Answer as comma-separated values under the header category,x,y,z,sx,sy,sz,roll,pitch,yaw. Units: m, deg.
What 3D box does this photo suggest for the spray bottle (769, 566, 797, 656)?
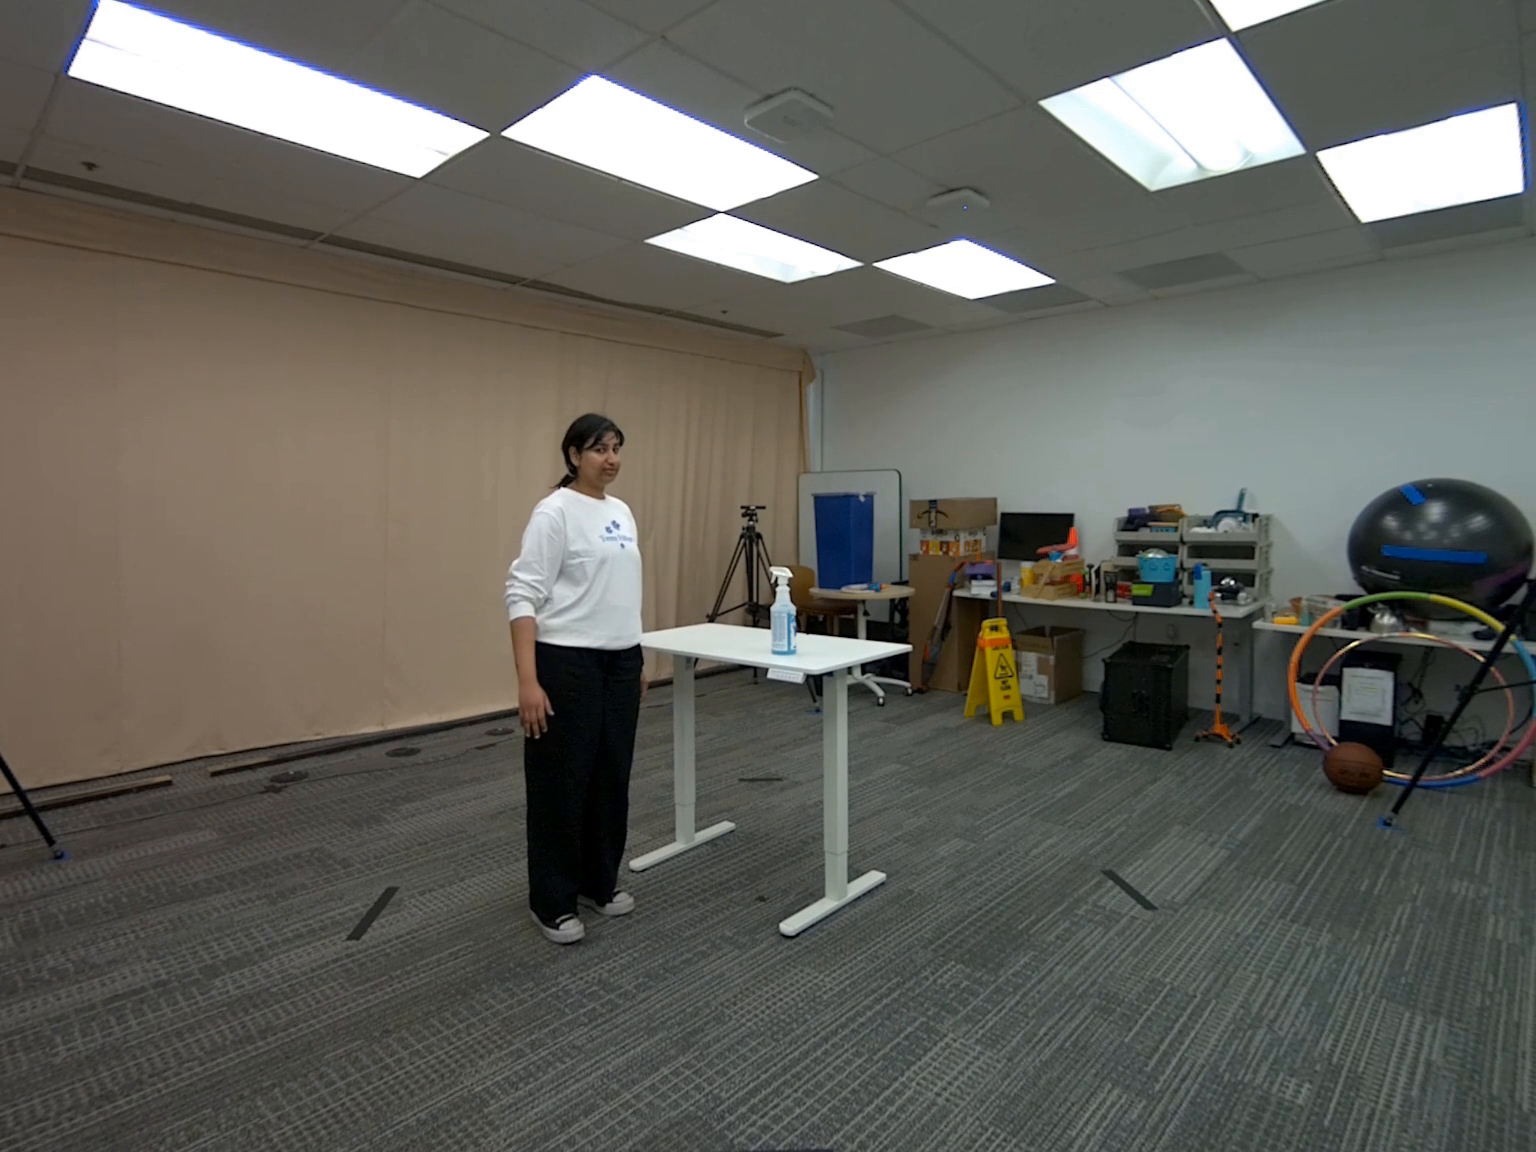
category,x,y,z,sx,sy,sz,roll,pitch,yaw
spray bottle,0.059,0.120,2.890,0.085,0.297,0.092,-2,1,-24
